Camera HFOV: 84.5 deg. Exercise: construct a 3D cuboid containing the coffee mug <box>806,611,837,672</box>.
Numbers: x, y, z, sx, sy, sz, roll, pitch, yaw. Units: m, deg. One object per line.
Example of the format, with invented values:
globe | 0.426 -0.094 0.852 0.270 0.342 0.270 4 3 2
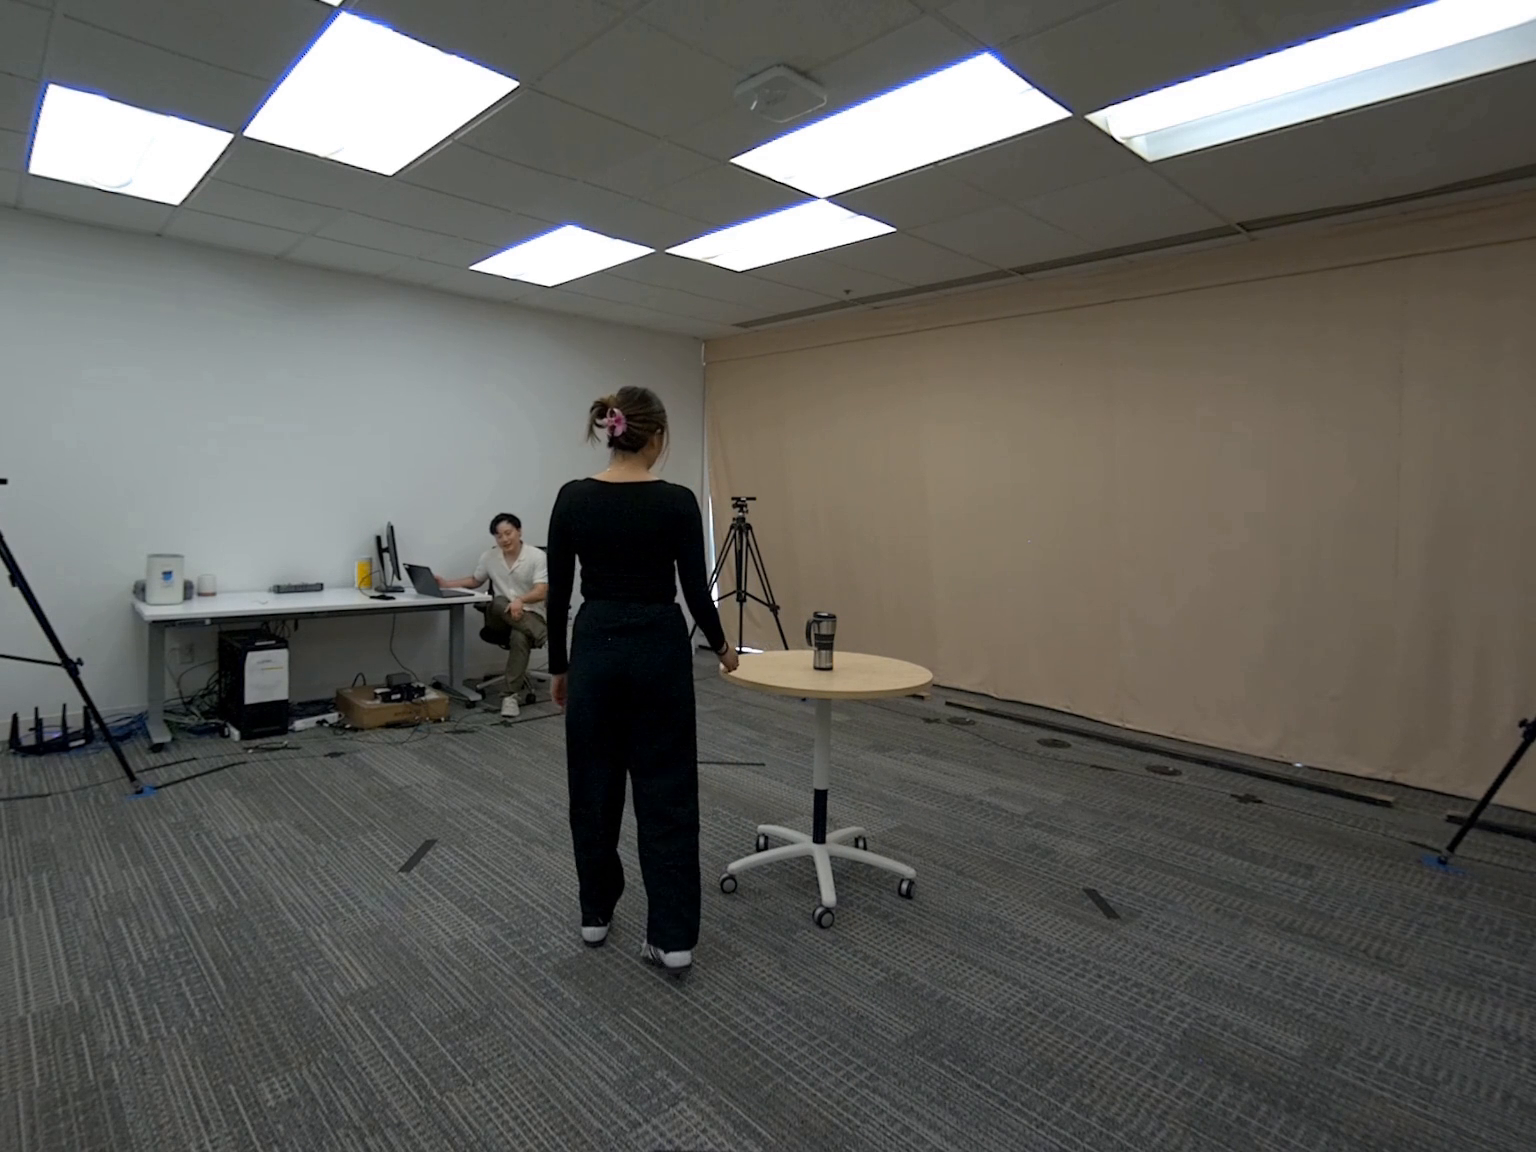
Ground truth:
coffee mug | 0.184 0.238 3.047 0.125 0.202 0.086 9 11 39
